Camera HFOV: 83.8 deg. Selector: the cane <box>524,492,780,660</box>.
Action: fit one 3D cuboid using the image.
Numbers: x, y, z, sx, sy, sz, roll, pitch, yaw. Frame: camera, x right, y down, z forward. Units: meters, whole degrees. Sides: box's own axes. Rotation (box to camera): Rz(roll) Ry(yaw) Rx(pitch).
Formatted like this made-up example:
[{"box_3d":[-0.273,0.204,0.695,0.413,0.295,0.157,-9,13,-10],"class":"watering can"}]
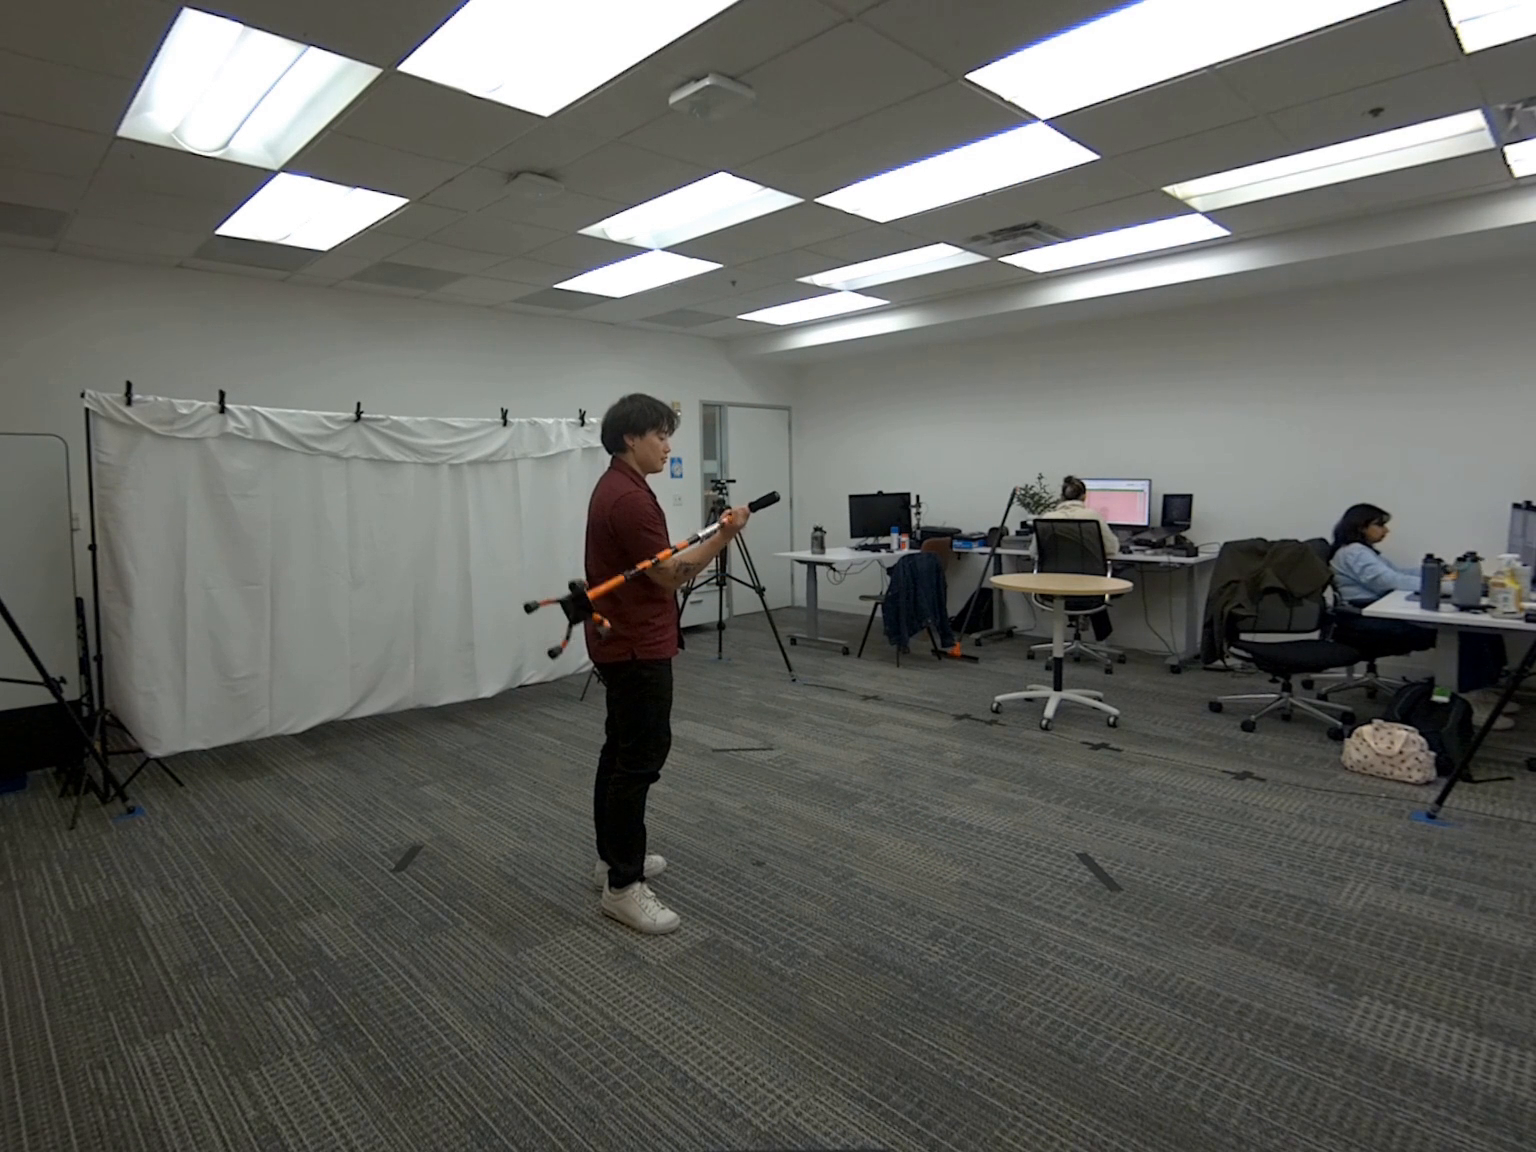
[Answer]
[{"box_3d":[-0.252,-0.046,2.342,0.209,0.151,0.899,-26,6,38],"class":"cane"}]
